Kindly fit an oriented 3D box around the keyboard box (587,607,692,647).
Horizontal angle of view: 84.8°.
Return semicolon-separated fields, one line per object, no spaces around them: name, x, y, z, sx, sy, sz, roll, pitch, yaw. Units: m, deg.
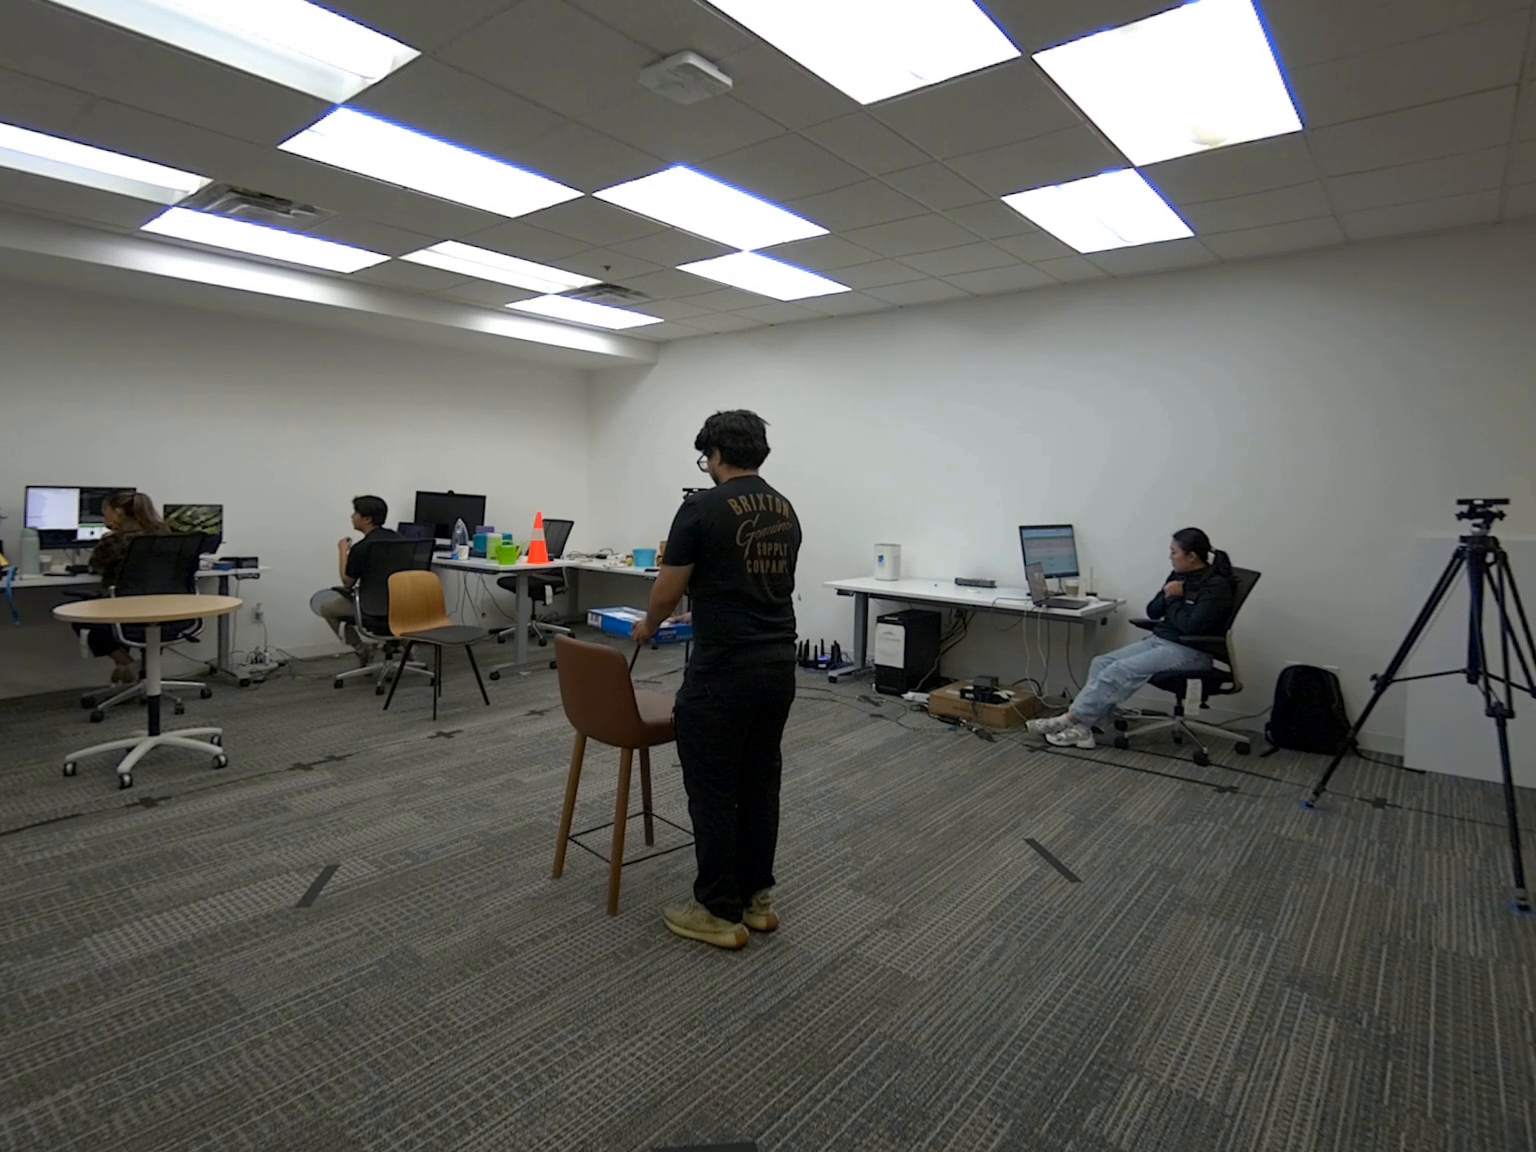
keyboard box;-0.479;0.176;3.074;0.170;0.059;0.452;-3;8;-42
